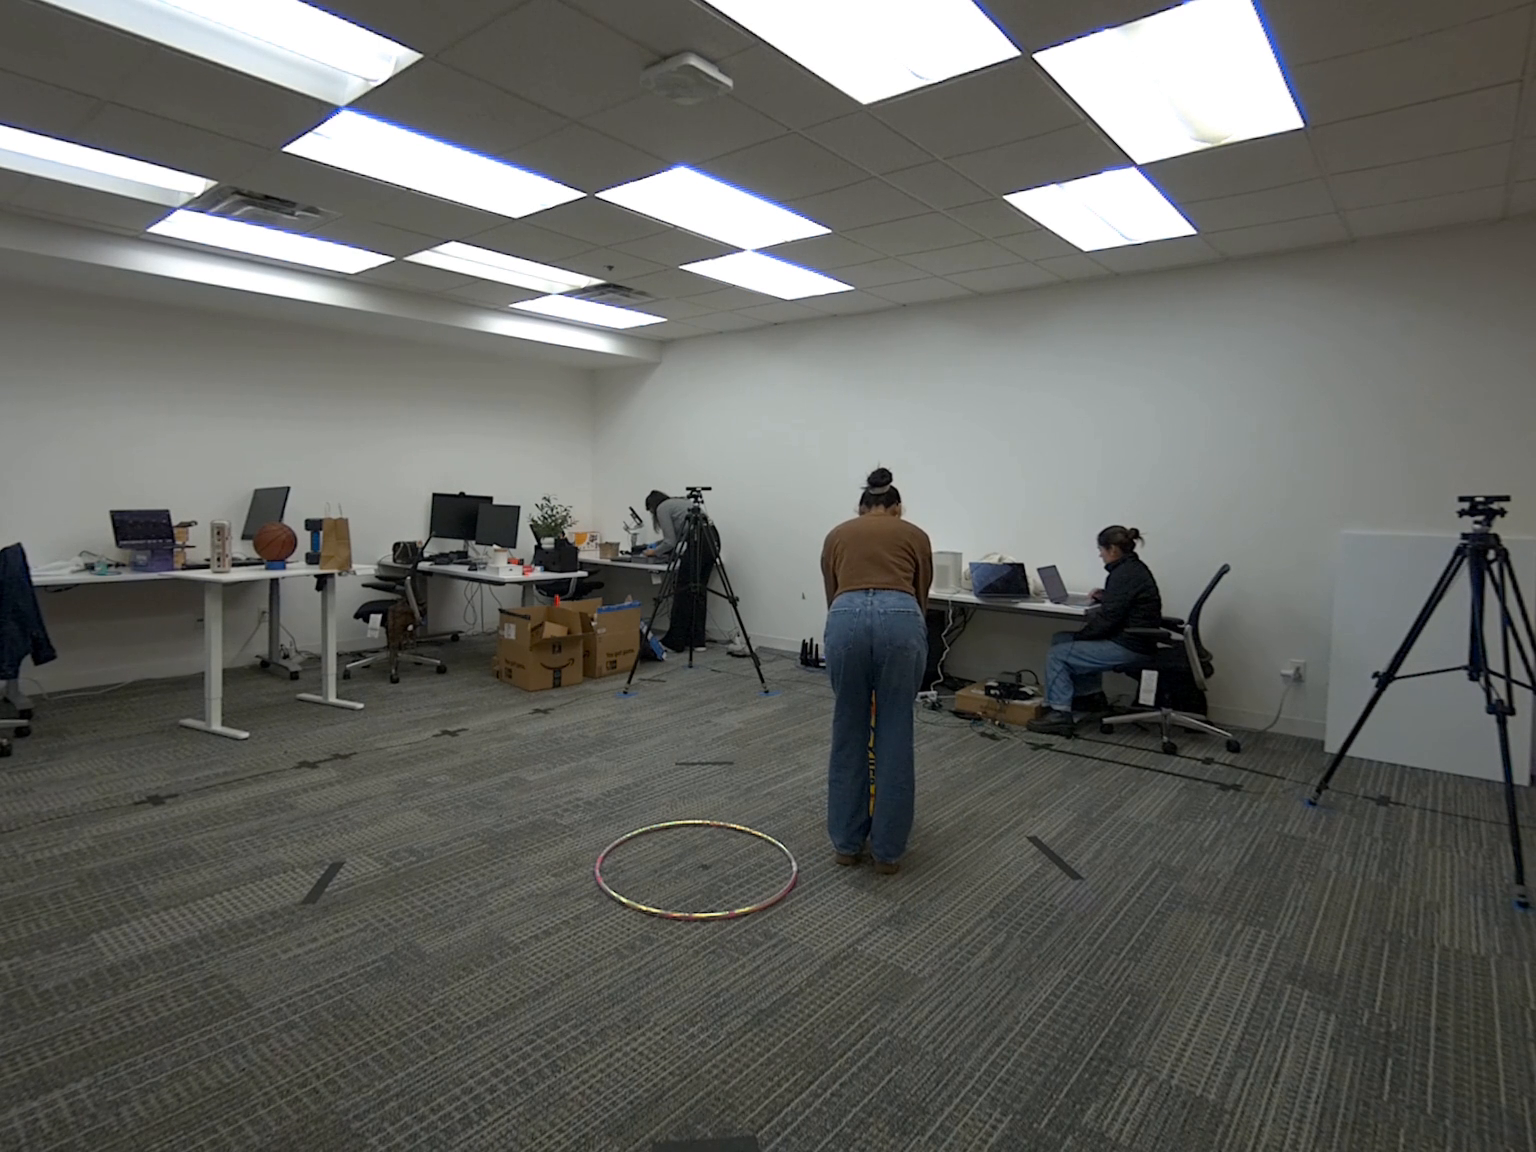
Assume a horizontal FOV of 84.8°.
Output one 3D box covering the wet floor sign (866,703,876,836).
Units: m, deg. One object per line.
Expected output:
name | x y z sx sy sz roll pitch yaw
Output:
wet floor sign | 0.412 0.703 3.537 0.286 0.644 0.287 3 3 10
